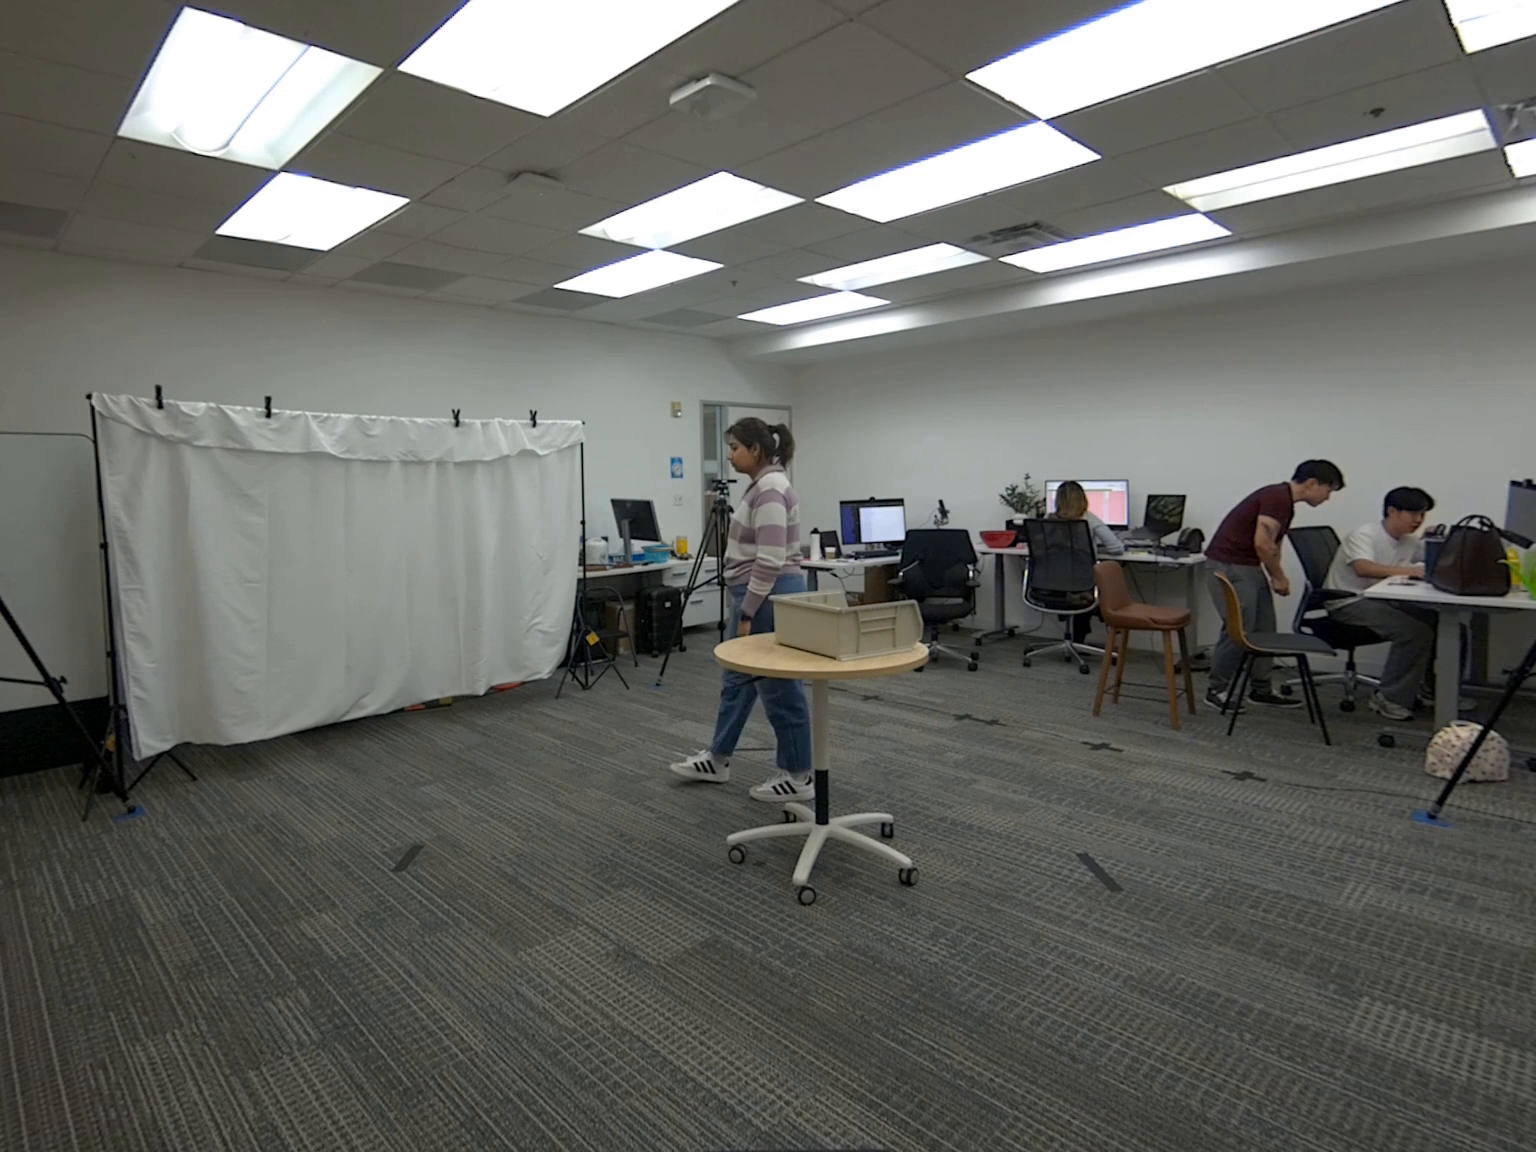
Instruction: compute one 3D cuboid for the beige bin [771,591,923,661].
[{"bbox_3d":[0.280,0.170,3.104,0.368,0.188,0.434,-7,8,-32],"label":"beige bin"}]
